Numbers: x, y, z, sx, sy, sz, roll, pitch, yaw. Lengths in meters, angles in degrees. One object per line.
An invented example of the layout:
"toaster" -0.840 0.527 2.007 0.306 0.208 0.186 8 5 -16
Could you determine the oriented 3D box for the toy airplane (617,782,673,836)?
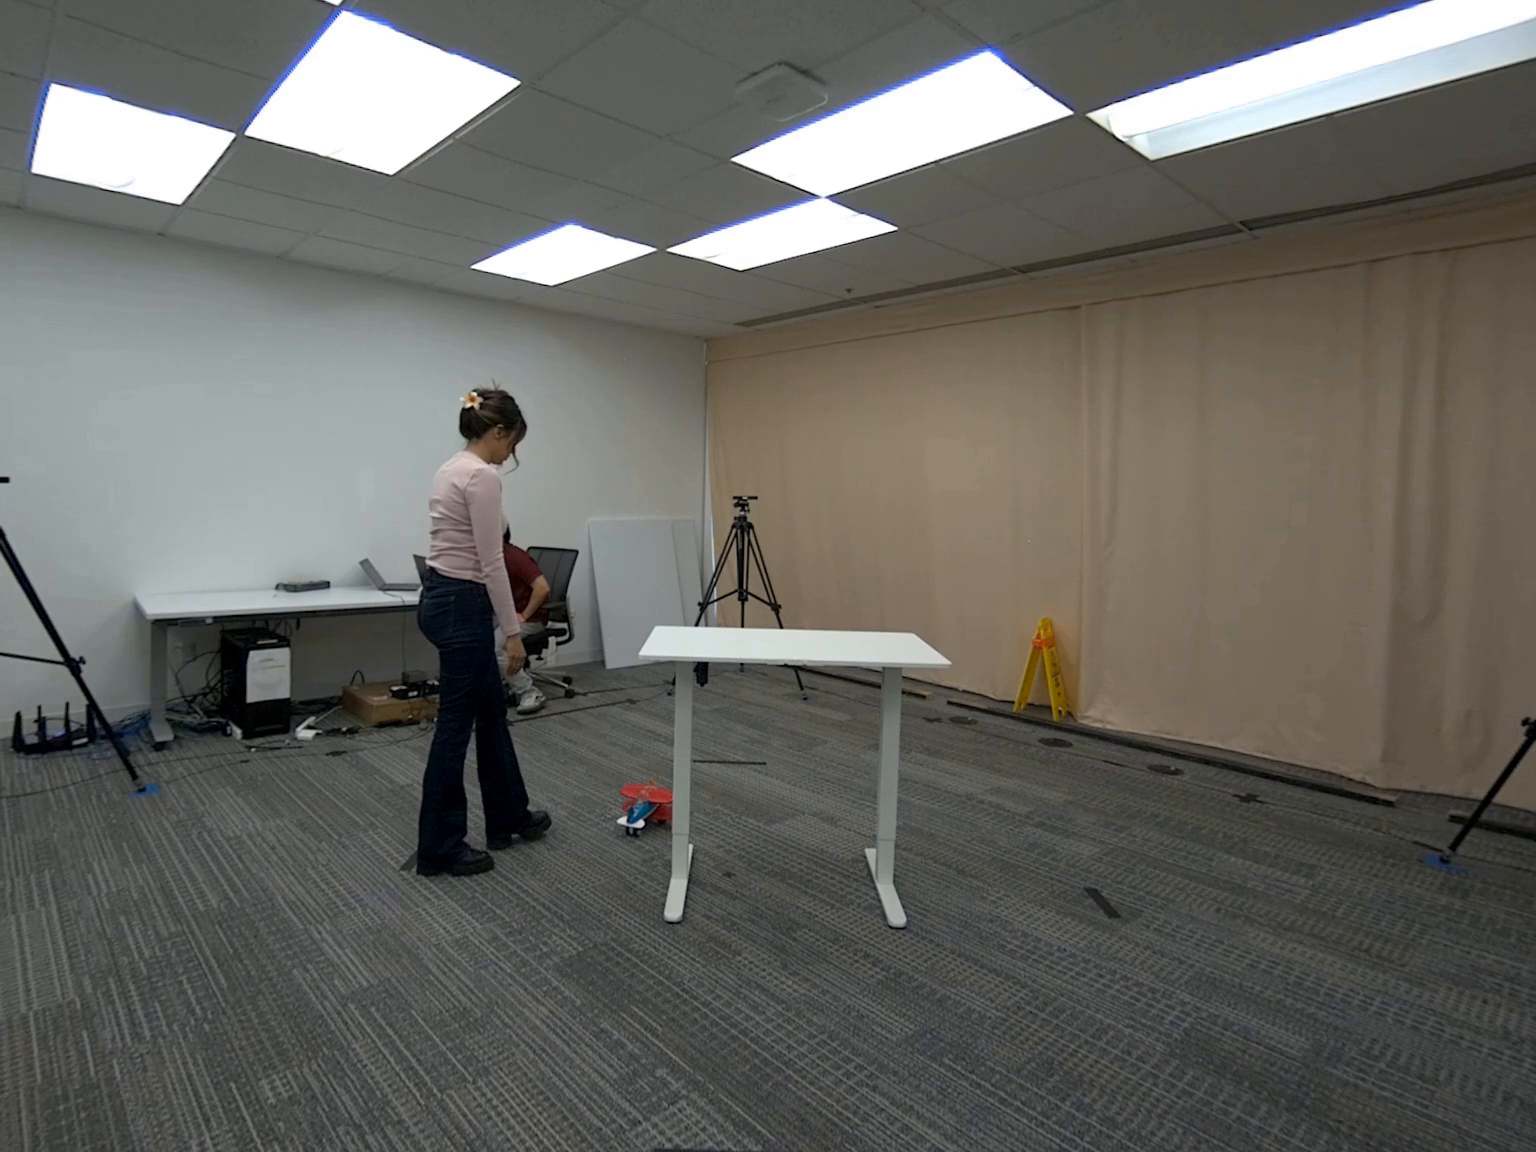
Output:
"toy airplane" -0.505 0.983 3.519 0.250 0.156 0.261 2 3 -7
